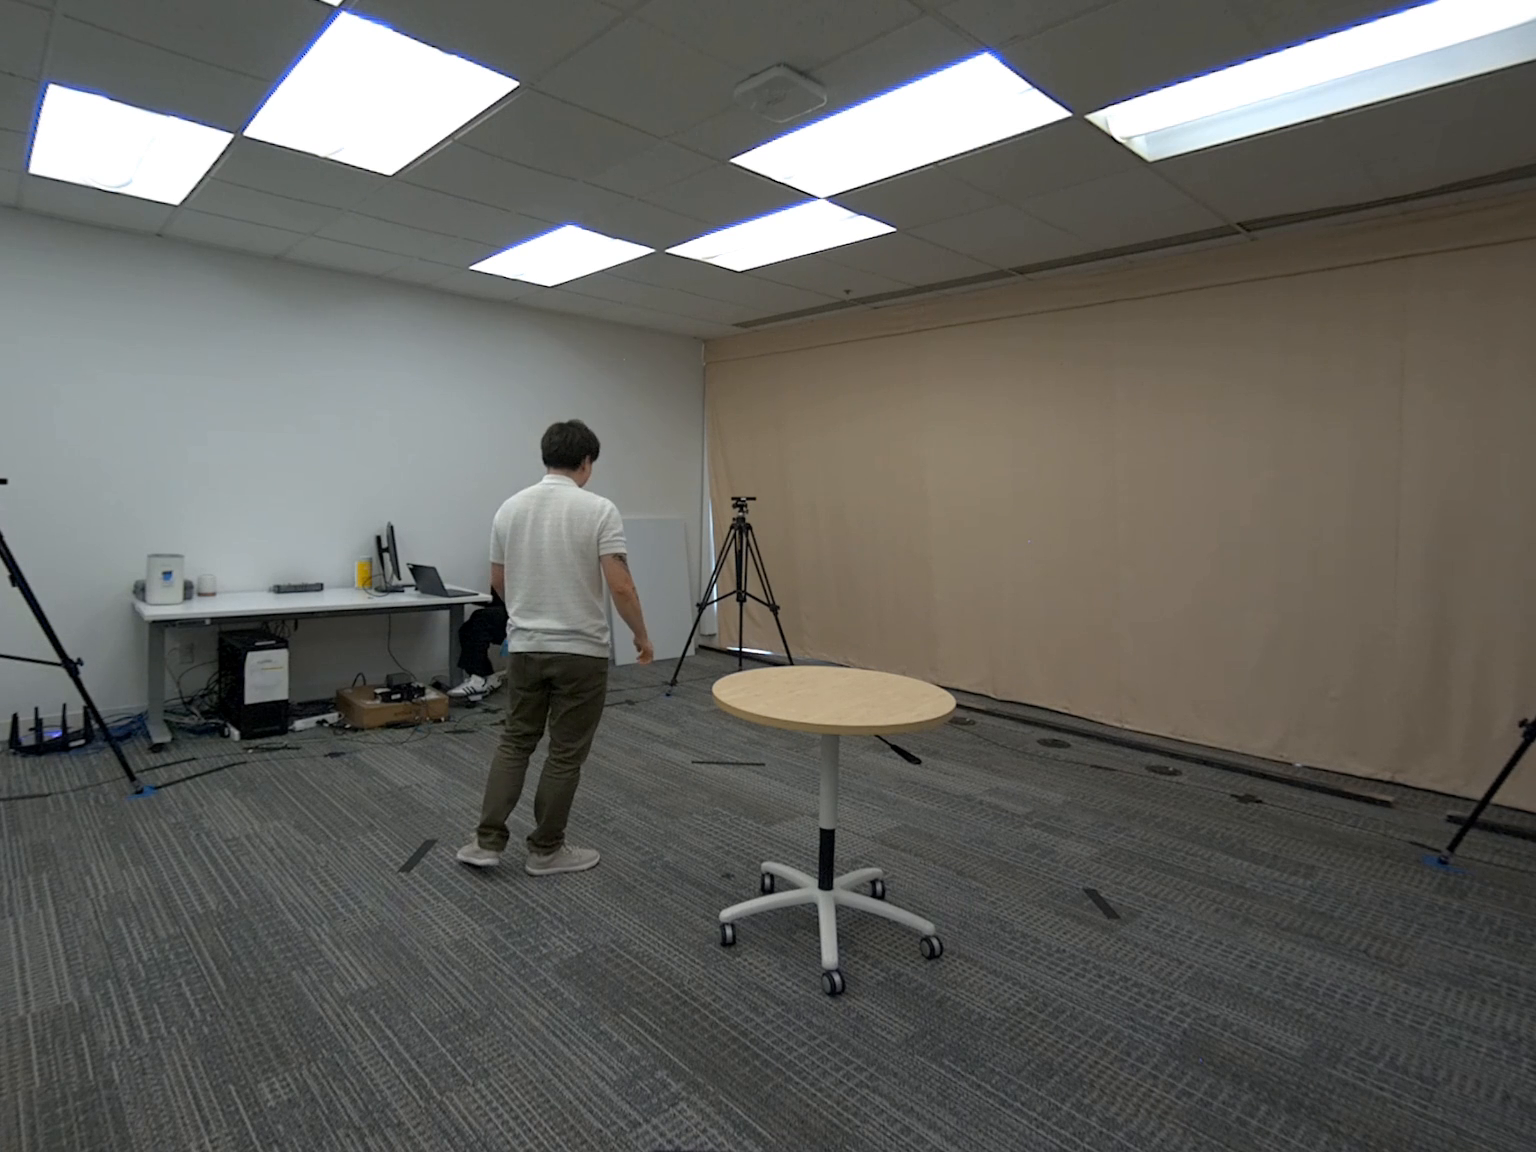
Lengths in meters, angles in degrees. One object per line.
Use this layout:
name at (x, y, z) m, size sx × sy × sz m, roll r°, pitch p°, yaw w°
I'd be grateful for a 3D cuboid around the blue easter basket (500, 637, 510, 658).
blue easter basket at (-0.998, 0.277, 3.478) m, size 0.156 × 0.243 × 0.243 m, roll 32°, pitch 6°, yaw 2°
